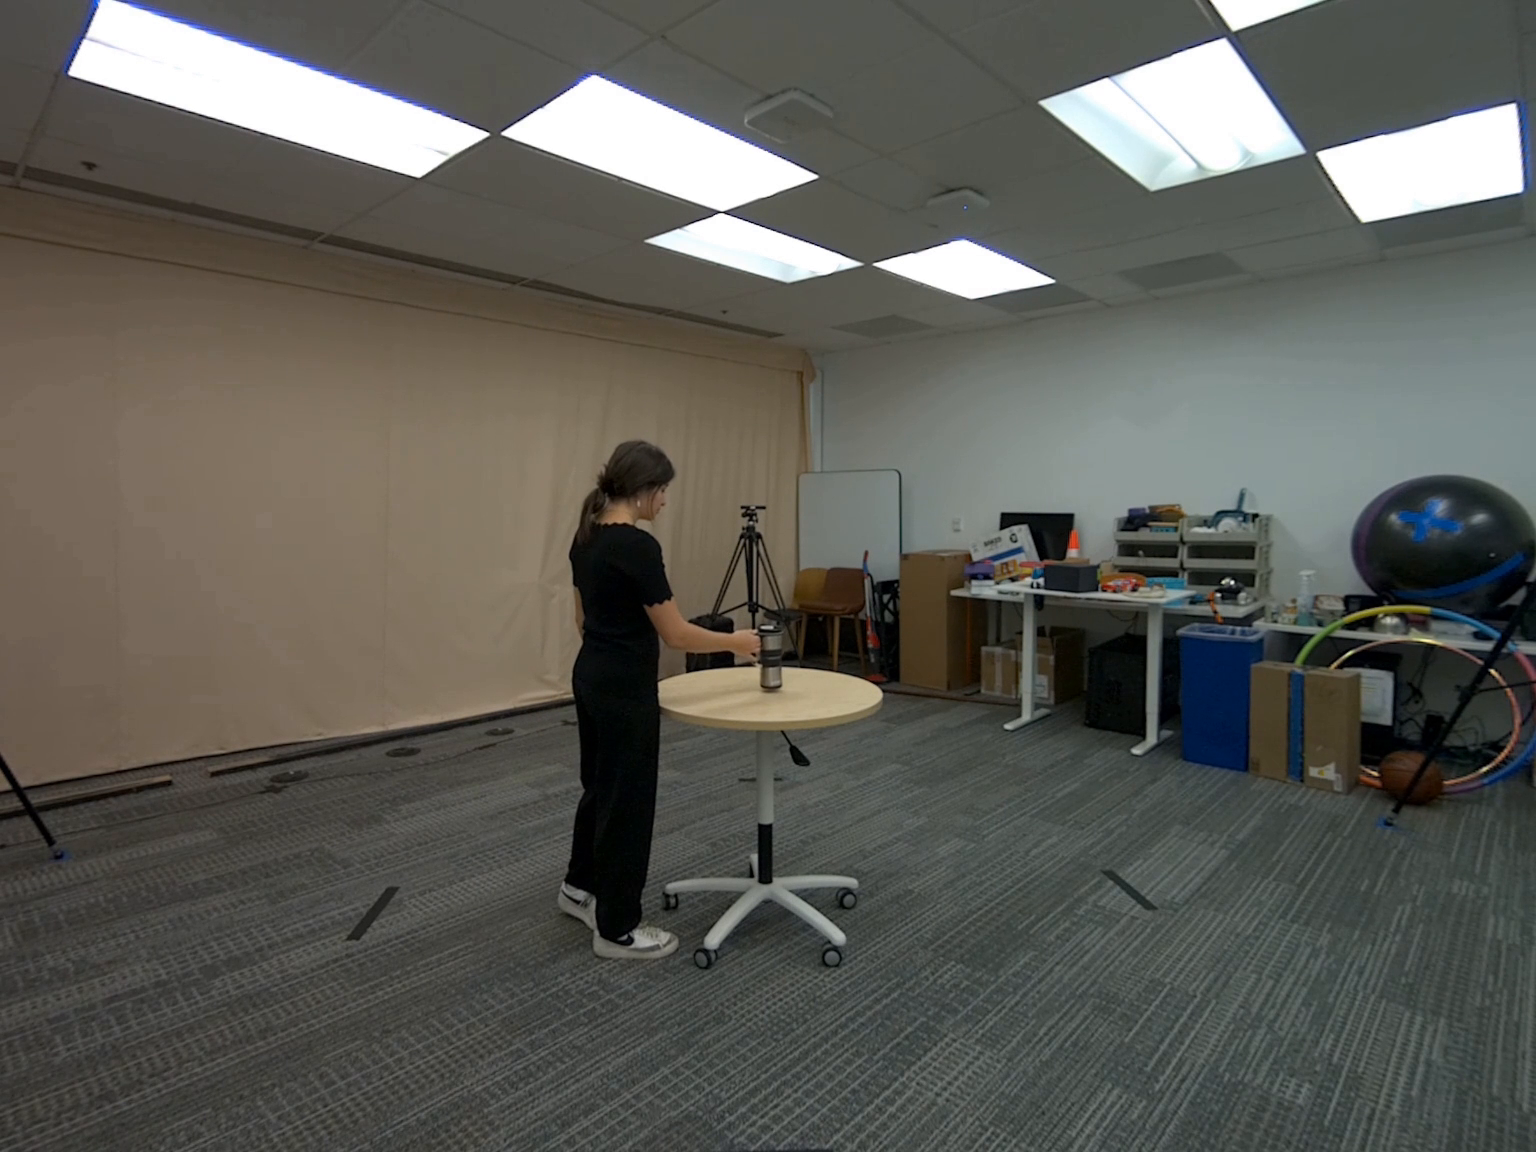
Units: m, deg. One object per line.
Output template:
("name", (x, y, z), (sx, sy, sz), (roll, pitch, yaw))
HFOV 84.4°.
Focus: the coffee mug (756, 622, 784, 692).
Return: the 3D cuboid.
("coffee mug", (-0.006, 0.268, 2.746), (0.126, 0.202, 0.086), (6, 12, 31))
